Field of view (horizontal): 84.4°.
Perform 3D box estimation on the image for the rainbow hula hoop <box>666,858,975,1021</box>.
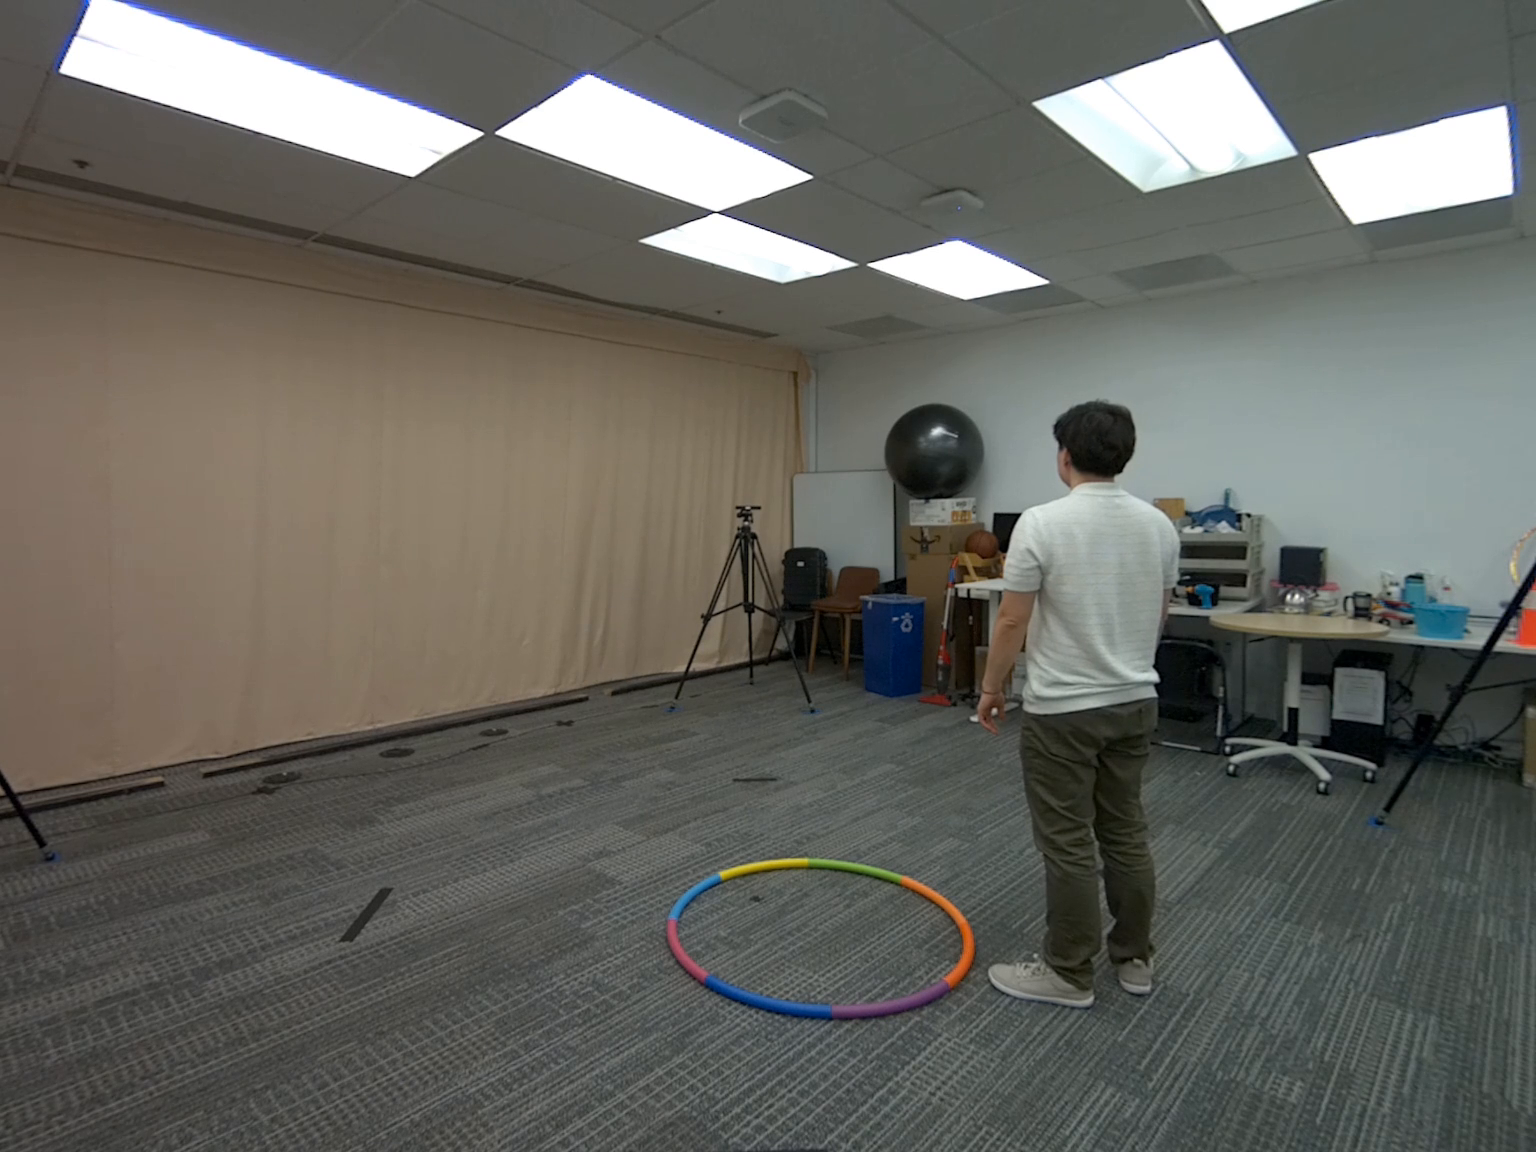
[{"bbox_3d":[0.161,1.132,2.763,0.978,0.035,0.982,-1,5,-2],"label":"rainbow hula hoop"}]
